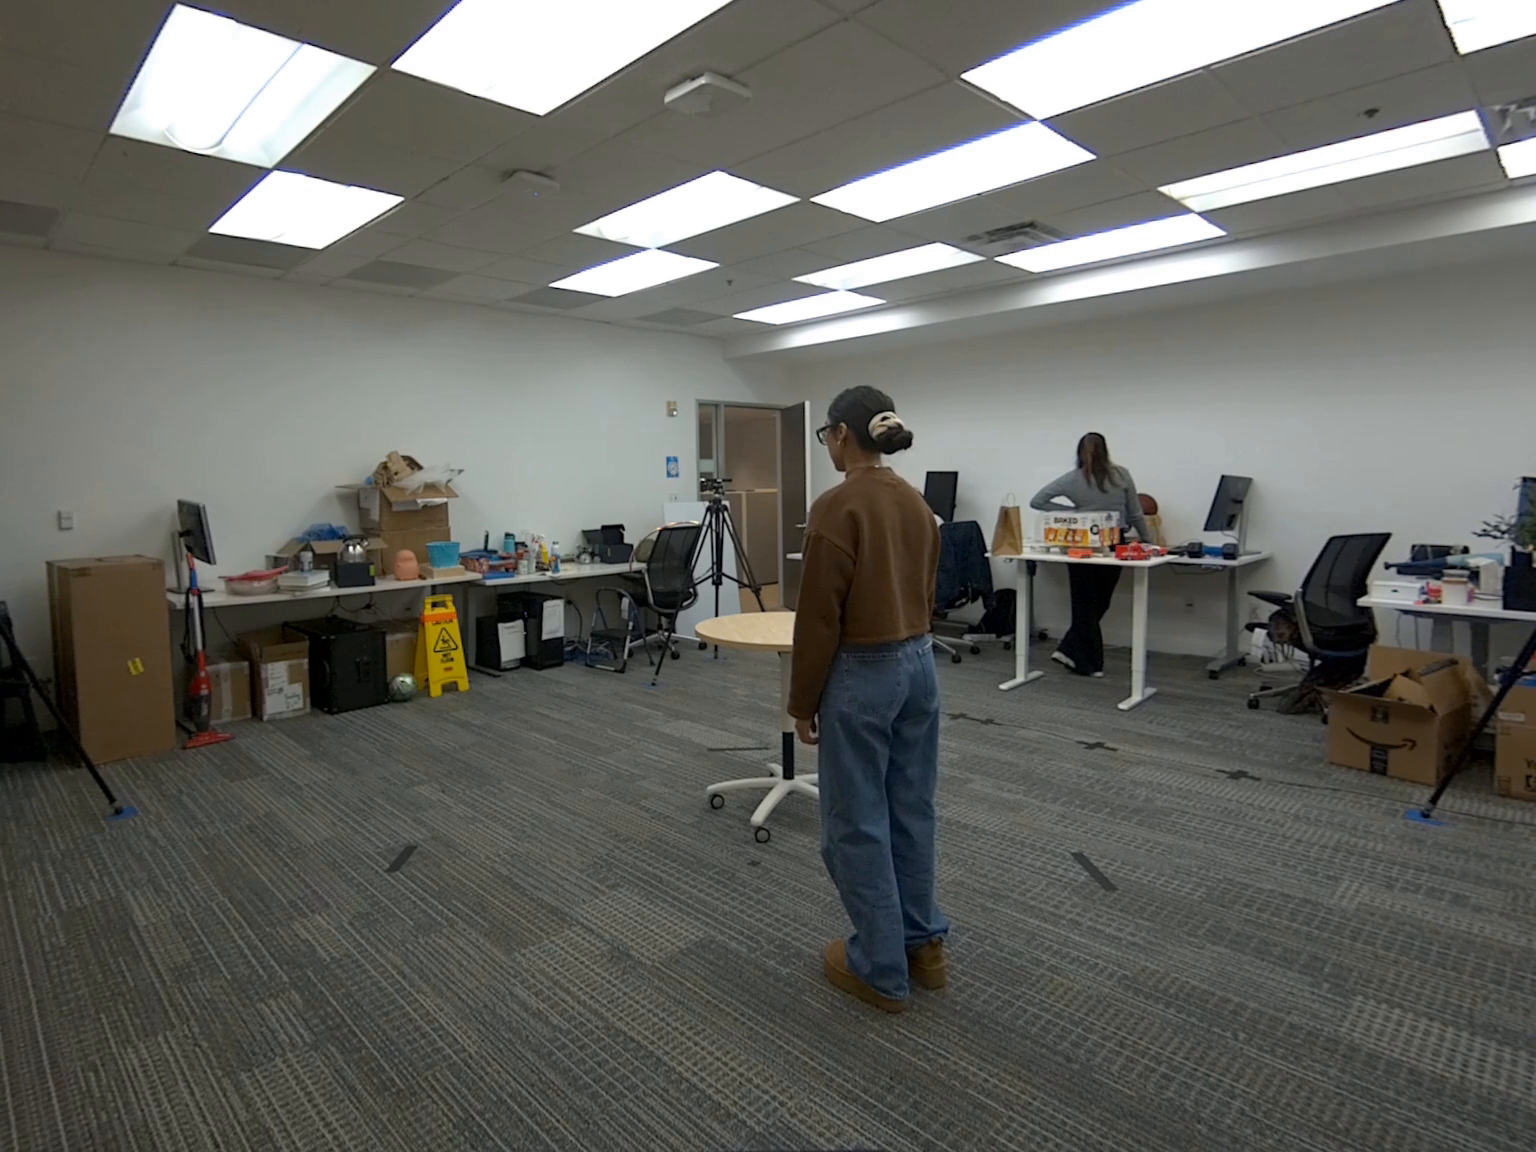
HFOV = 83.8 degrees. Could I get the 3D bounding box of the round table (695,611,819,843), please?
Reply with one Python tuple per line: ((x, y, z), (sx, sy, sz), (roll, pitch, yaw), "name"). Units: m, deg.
((0.102, 0.594, 3.571), (0.784, 0.783, 0.789), (-1, 5, -2), "round table")
